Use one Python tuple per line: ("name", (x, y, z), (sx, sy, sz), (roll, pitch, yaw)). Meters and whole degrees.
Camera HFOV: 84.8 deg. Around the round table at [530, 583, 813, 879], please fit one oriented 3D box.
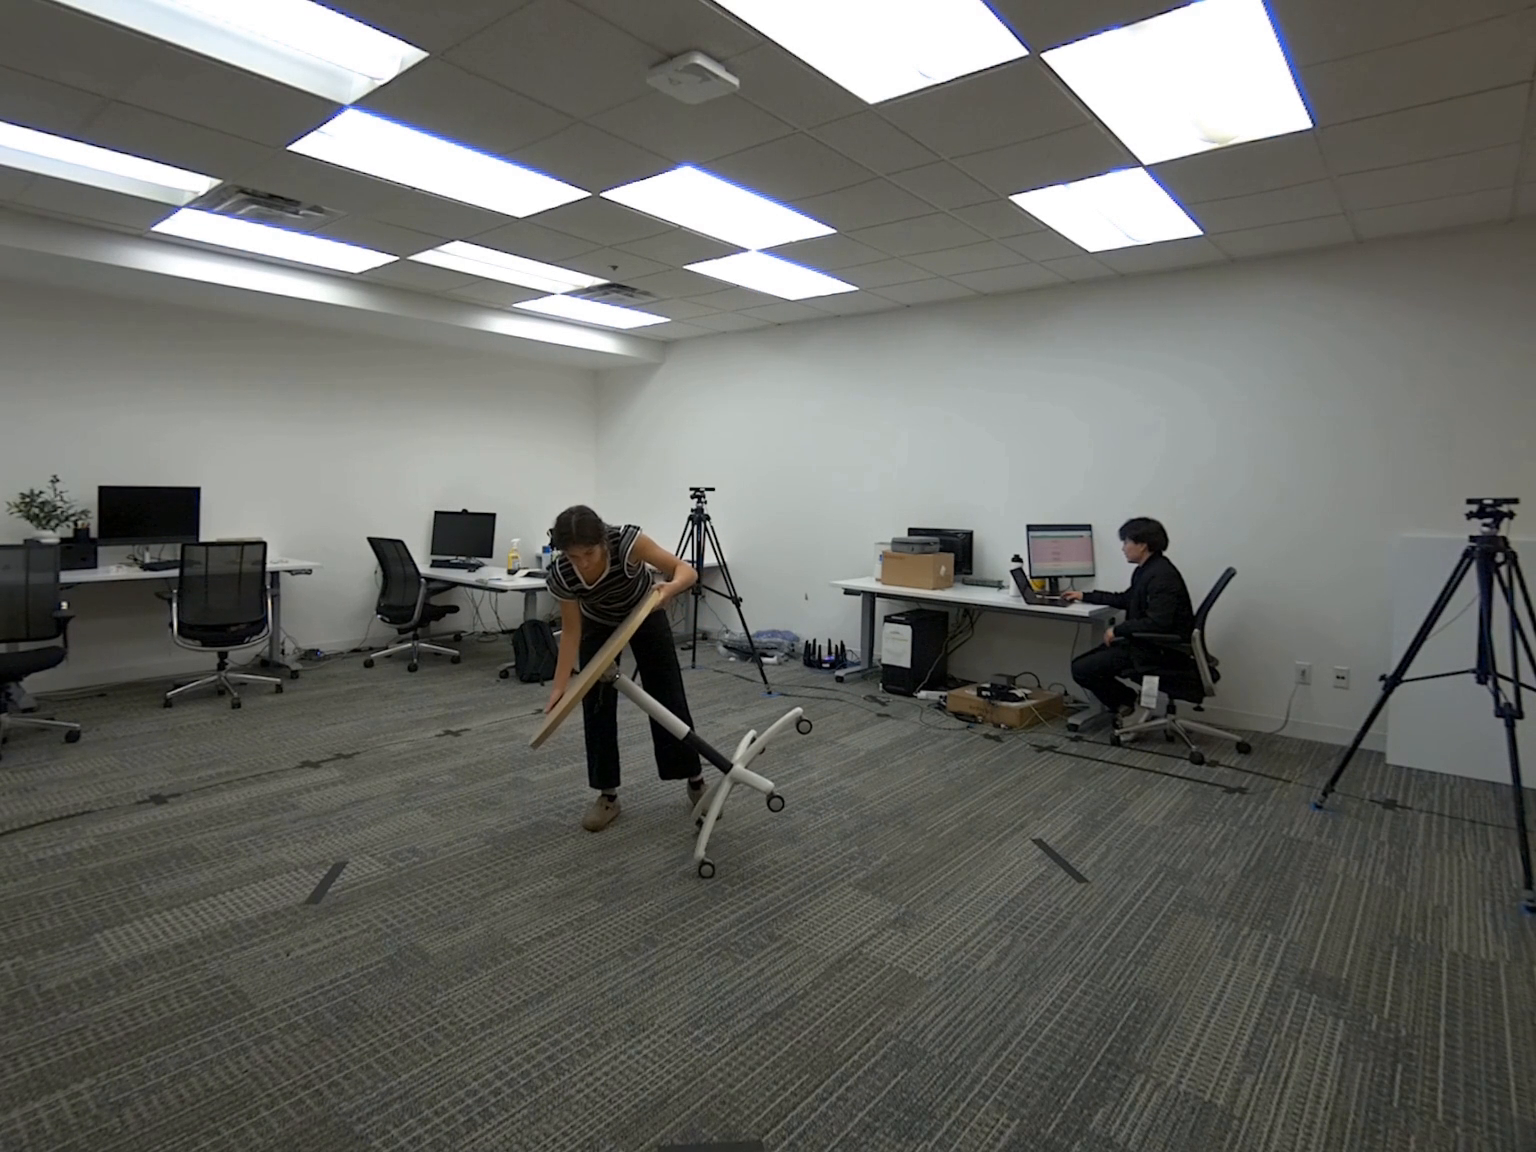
("round table", (-0.344, 0.563, 3.224), (0.780, 0.785, 0.792), (40, 0, -7))
